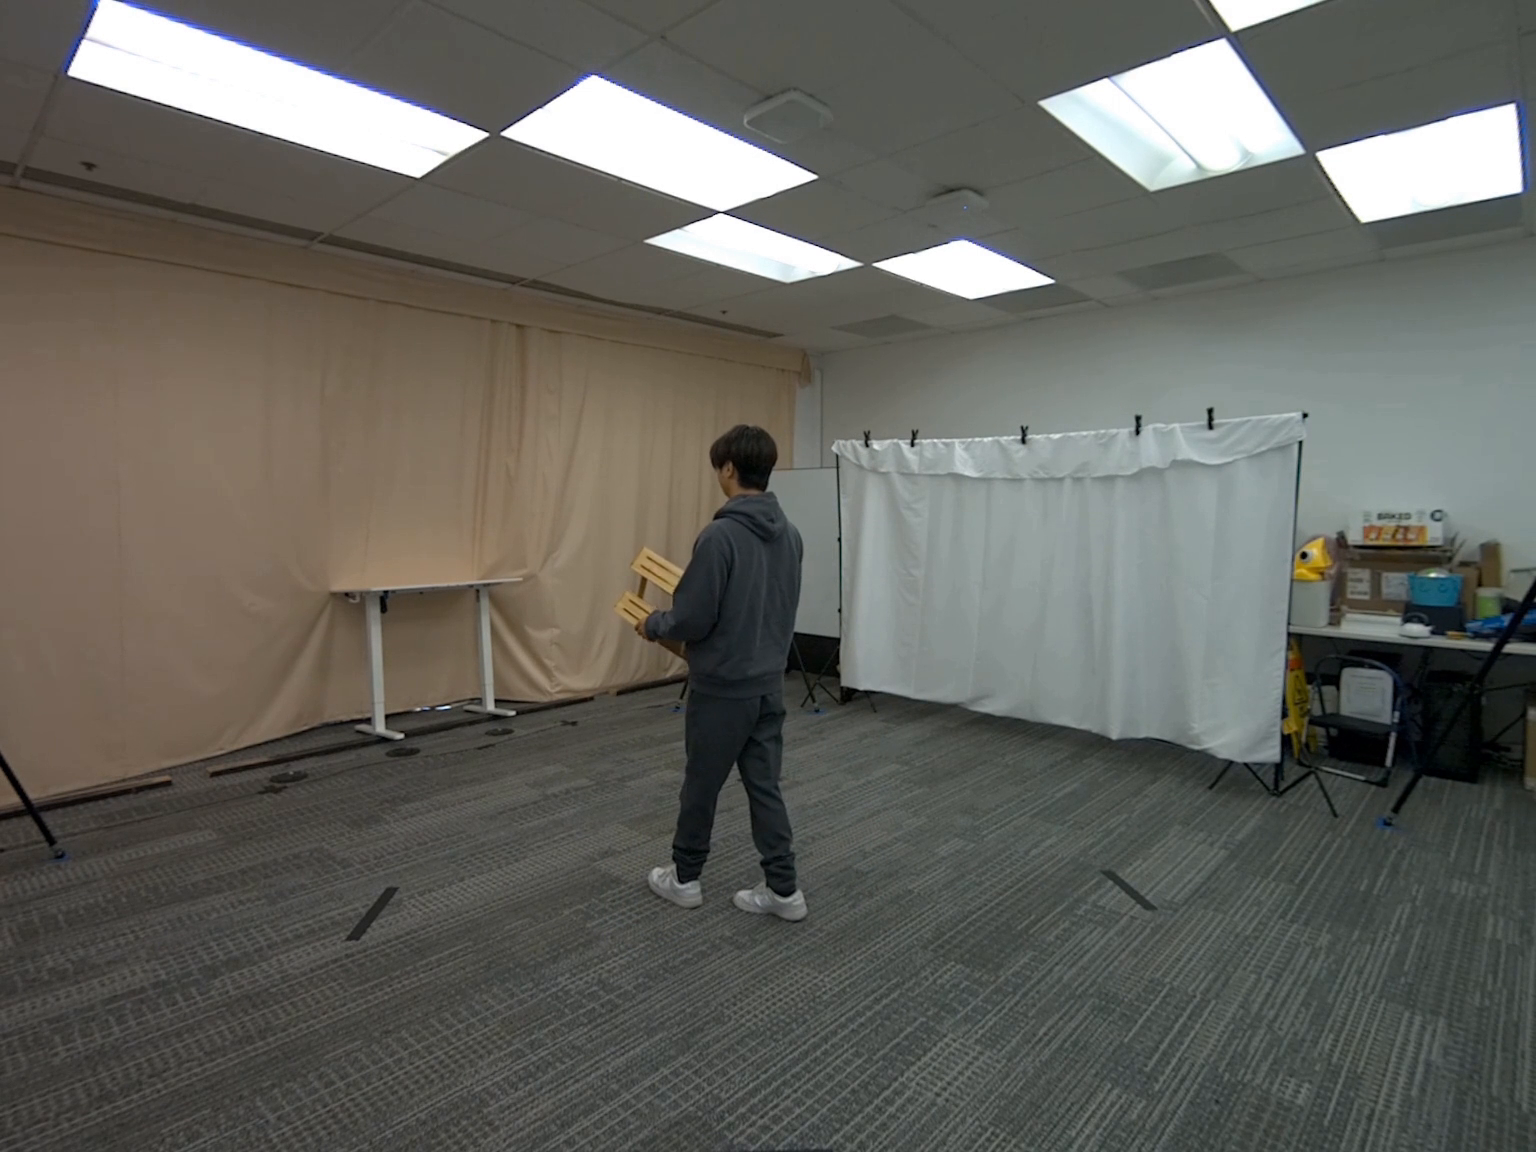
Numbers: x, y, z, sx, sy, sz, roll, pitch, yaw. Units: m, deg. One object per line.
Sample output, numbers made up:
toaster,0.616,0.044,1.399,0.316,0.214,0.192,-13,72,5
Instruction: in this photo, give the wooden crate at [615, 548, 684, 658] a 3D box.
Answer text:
wooden crate,-0.360,0.115,3.131,0.336,0.273,0.291,31,-6,41
